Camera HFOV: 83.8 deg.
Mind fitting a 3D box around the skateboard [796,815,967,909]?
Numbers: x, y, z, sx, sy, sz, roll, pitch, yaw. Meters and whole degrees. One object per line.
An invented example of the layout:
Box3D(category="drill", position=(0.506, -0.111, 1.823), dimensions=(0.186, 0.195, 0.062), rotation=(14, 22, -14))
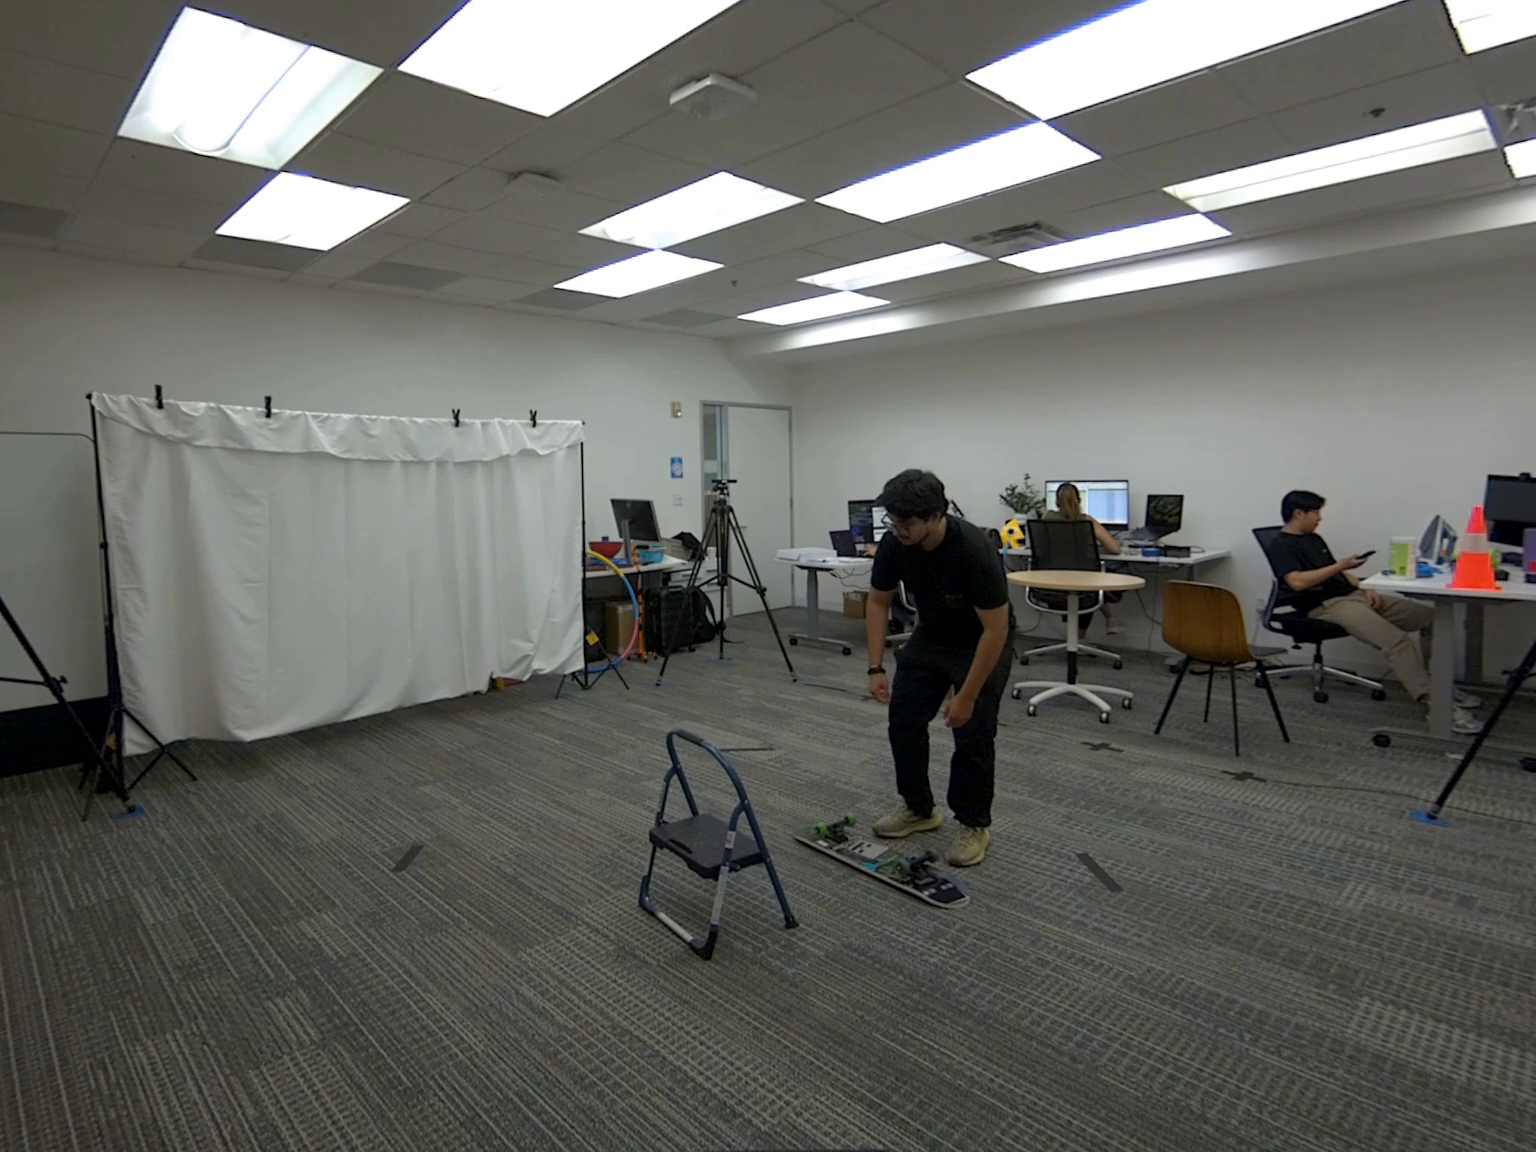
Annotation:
Box3D(category="skateboard", position=(0.387, 0.996, 3.085), dimensions=(0.188, 0.110, 0.809), rotation=(-5, 7, -39))
